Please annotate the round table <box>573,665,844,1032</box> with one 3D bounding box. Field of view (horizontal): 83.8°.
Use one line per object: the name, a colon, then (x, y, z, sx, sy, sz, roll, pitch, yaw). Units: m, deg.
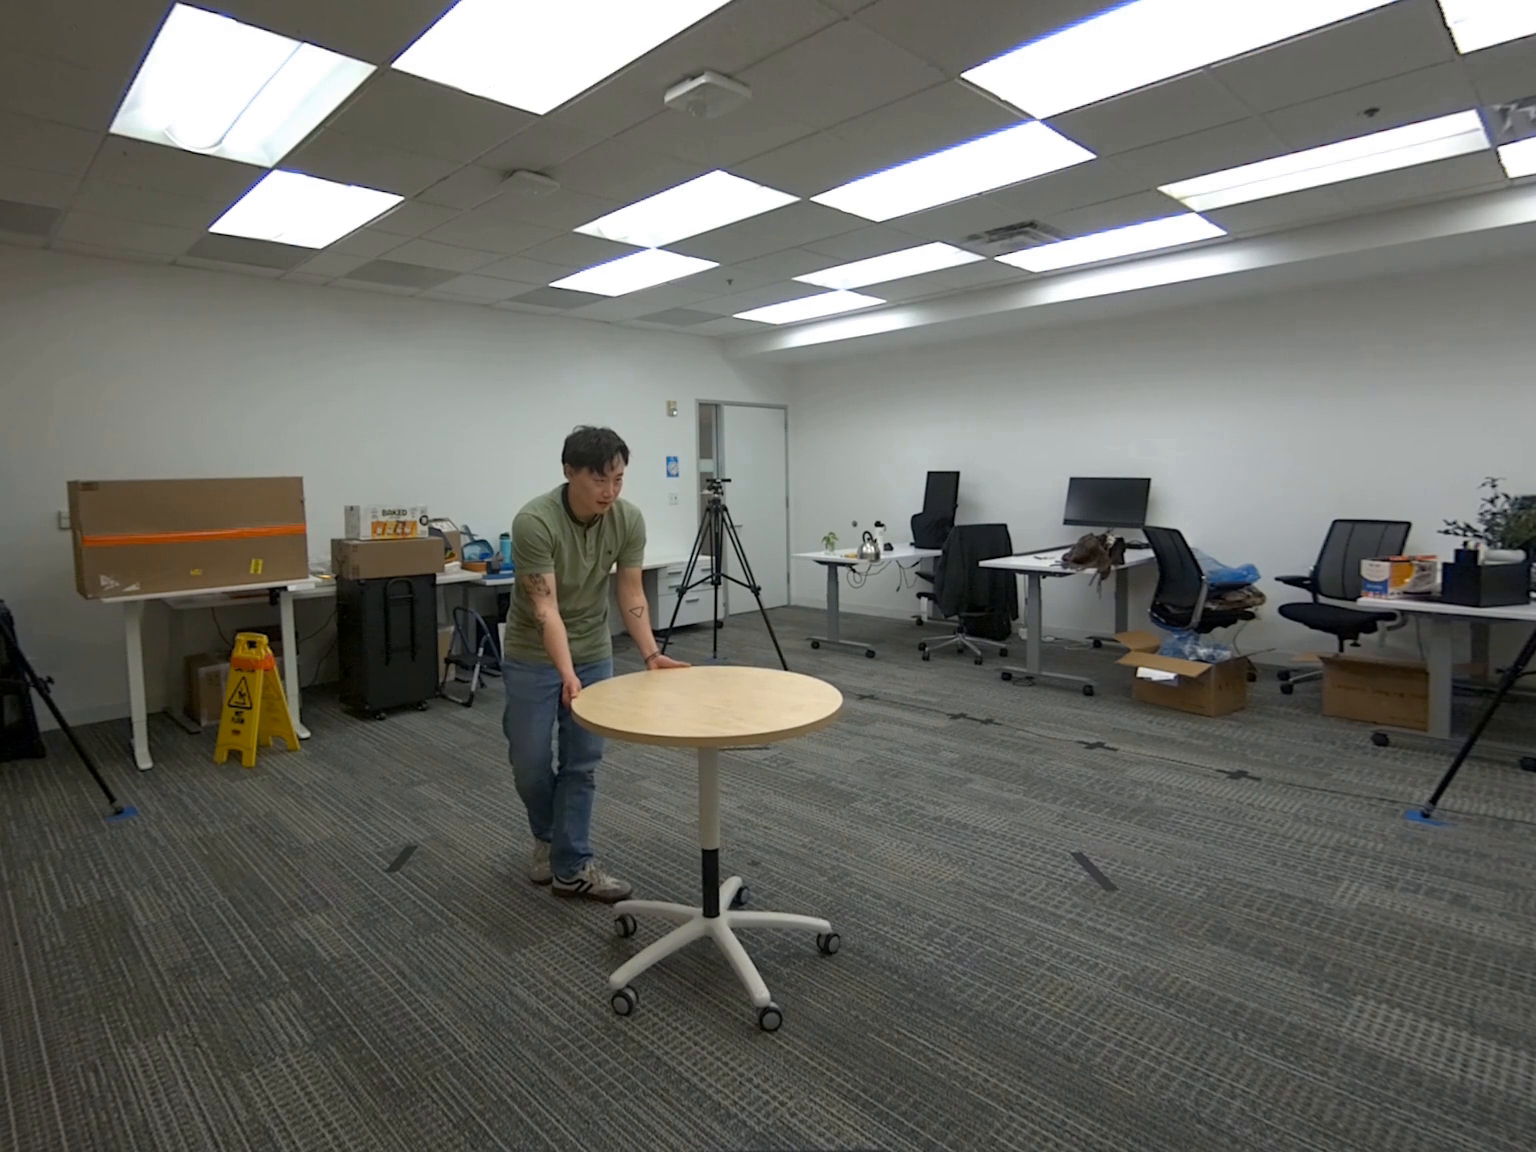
round table: (-0.163, 0.734, 2.456, 0.763, 0.791, 0.768, -1, 5, -2)
